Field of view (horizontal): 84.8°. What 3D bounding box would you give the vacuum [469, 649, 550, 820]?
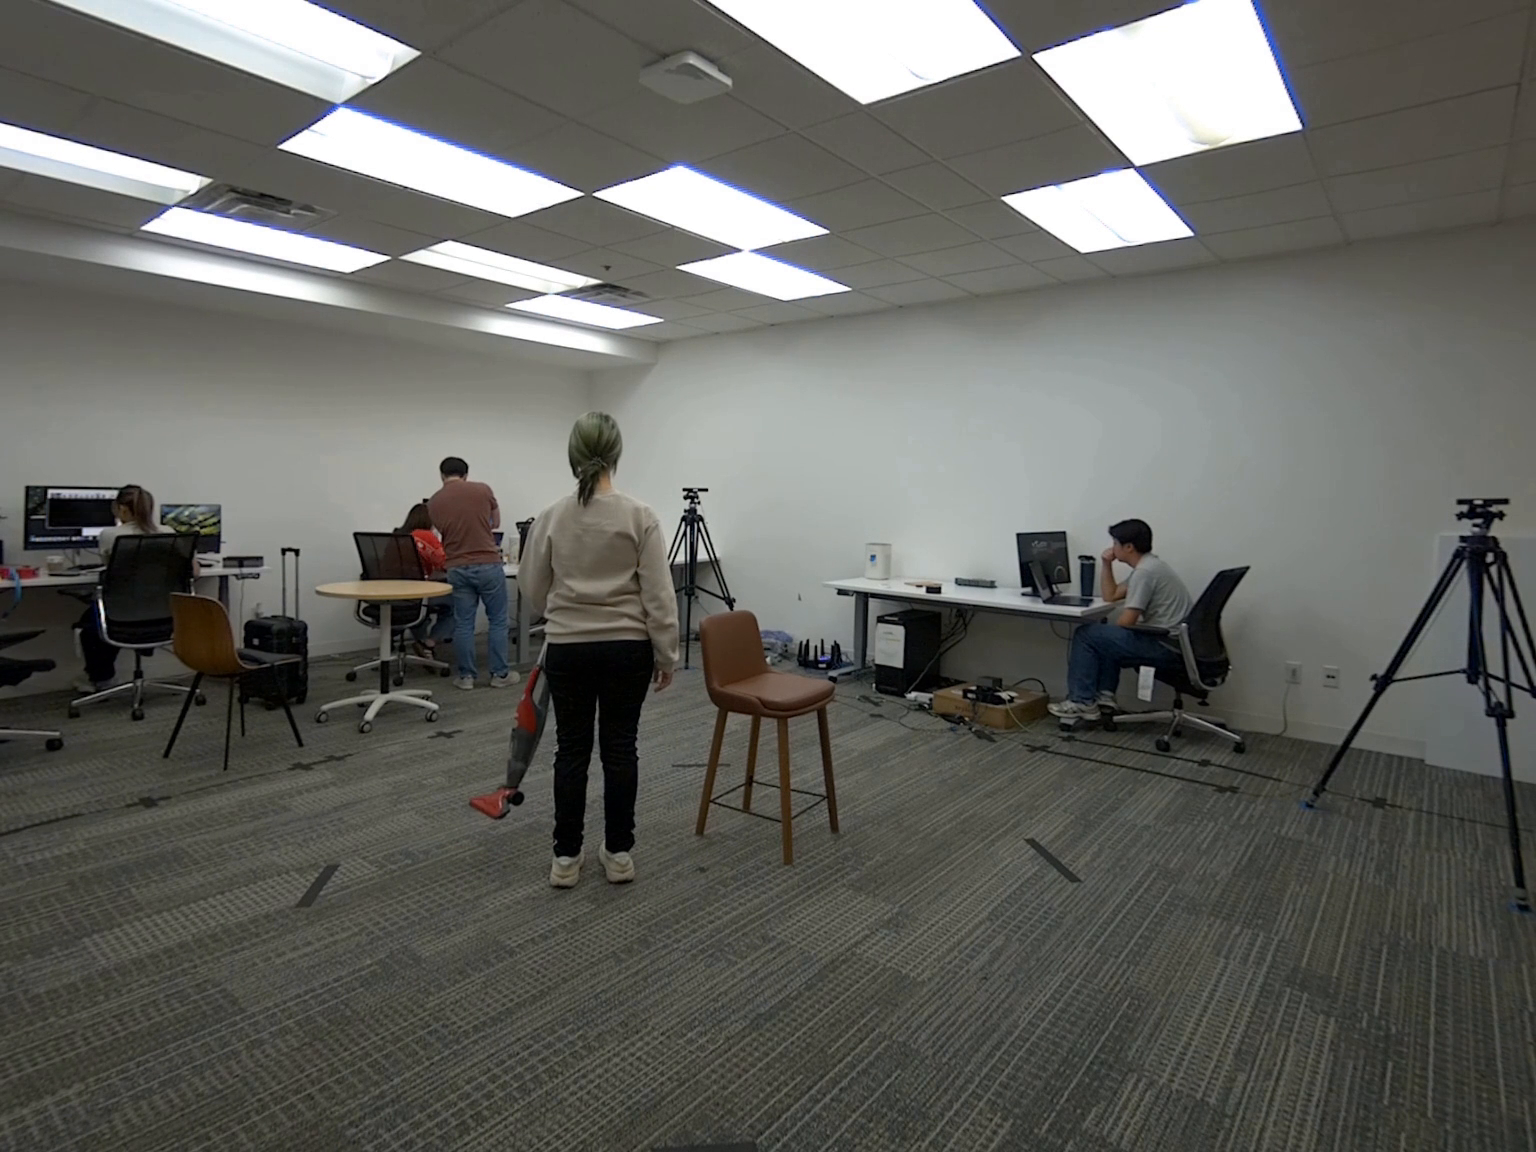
[{"bbox_3d":[-0.873,0.363,3.309,0.260,1.061,0.138,-1,-23,42],"label":"vacuum"}]
